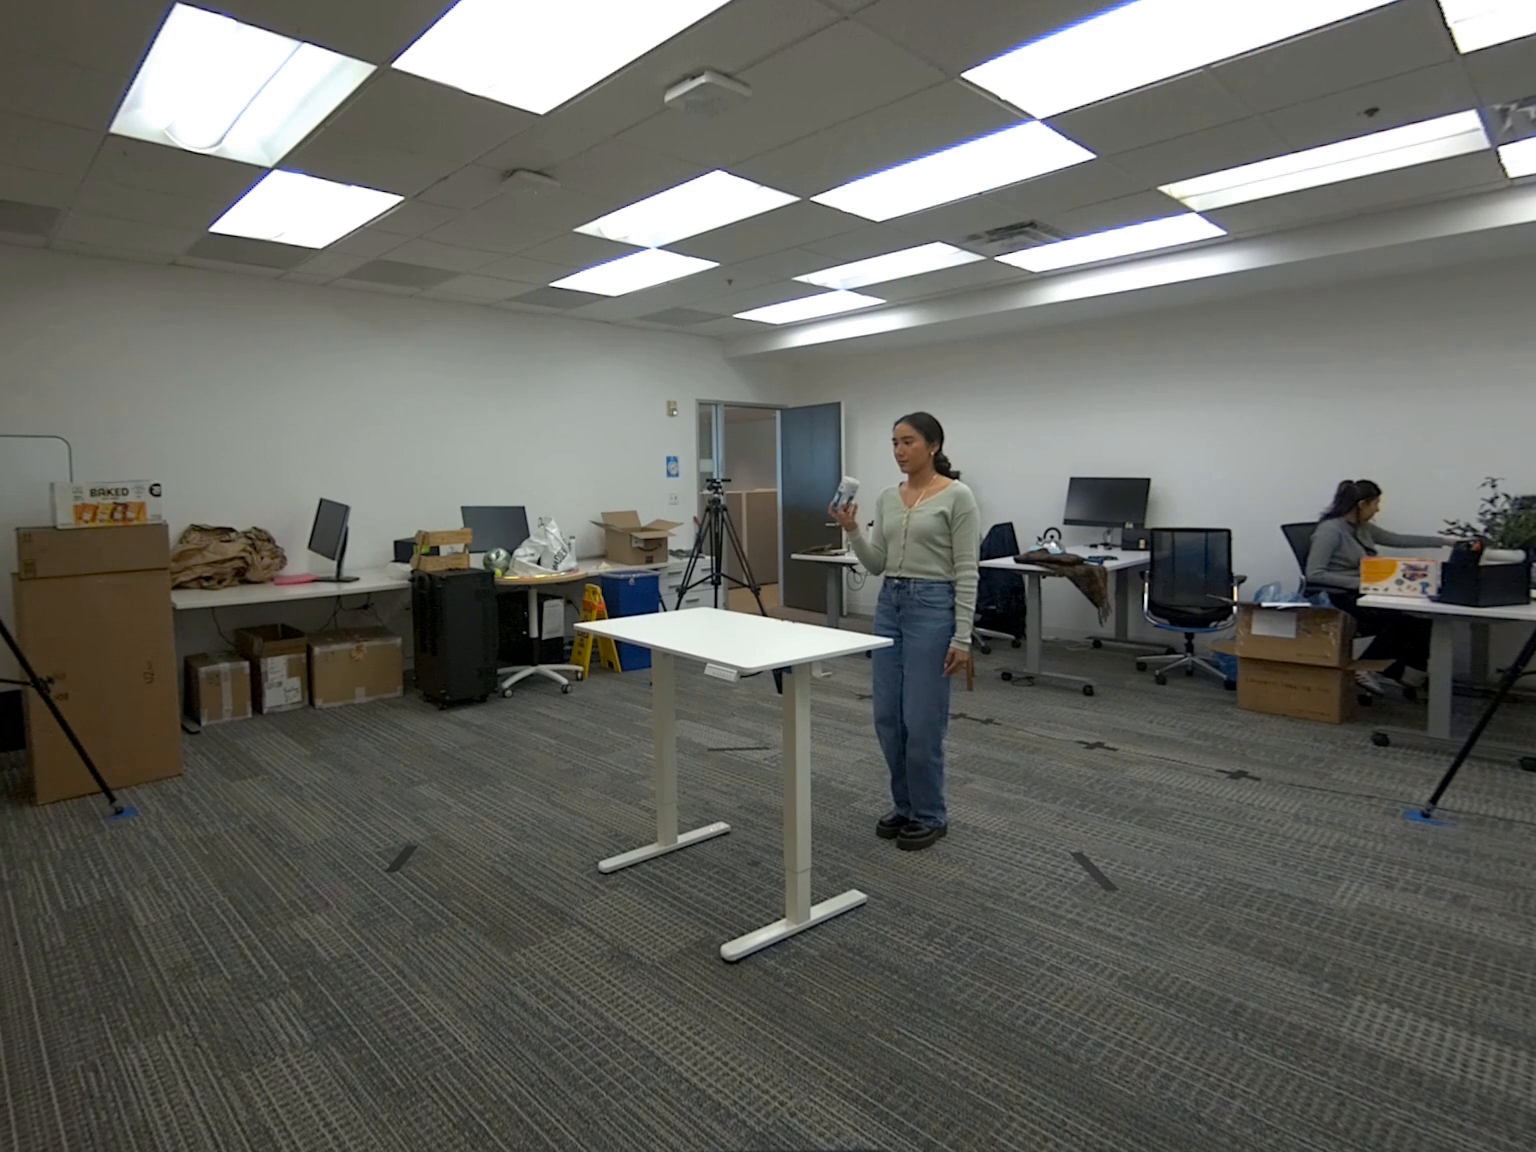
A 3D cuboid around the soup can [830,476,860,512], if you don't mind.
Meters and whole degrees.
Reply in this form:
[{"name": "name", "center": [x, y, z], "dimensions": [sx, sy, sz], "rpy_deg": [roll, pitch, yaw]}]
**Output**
[{"name": "soup can", "center": [0.290, -0.309, 3.159], "dimensions": [0.067, 0.120, 0.068], "rpy_deg": [14, 16, -6]}]
